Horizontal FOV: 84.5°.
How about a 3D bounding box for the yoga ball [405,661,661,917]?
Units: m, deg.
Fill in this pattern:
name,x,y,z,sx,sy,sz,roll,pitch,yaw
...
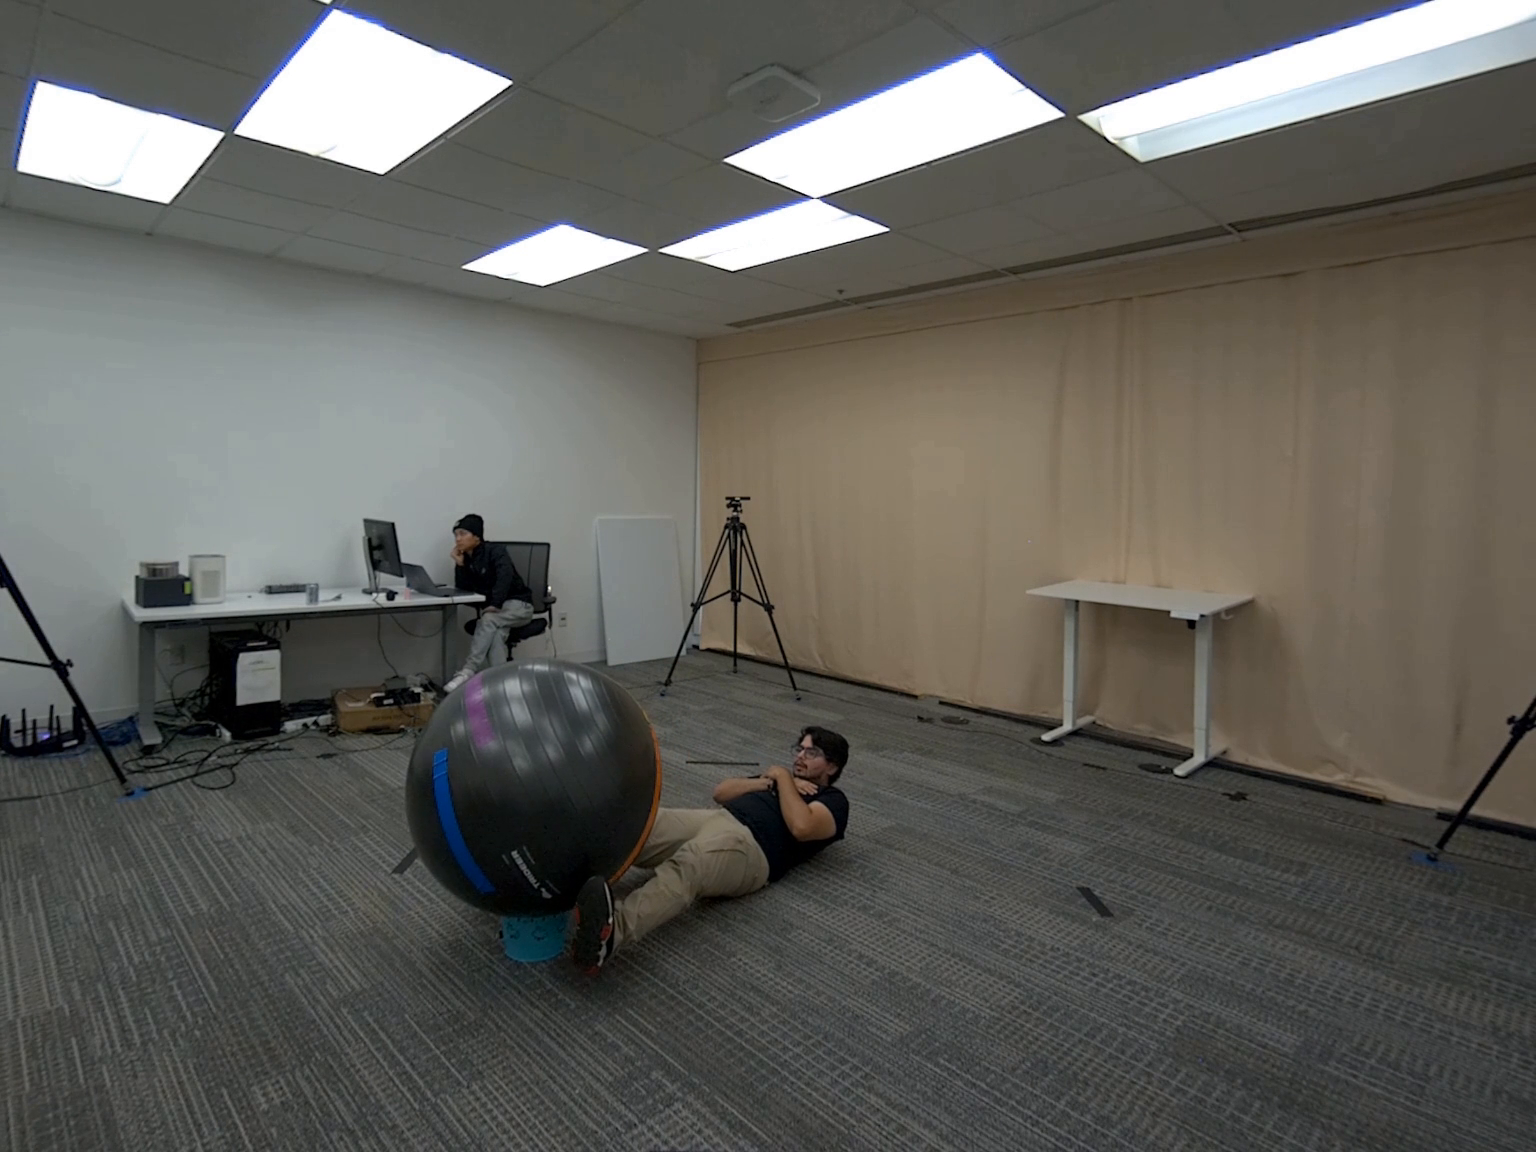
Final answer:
name,x,y,z,sx,sy,sz,roll,pitch,yaw
yoga ball,-0.713,0.637,2.566,0.757,0.756,0.761,1,4,-1
